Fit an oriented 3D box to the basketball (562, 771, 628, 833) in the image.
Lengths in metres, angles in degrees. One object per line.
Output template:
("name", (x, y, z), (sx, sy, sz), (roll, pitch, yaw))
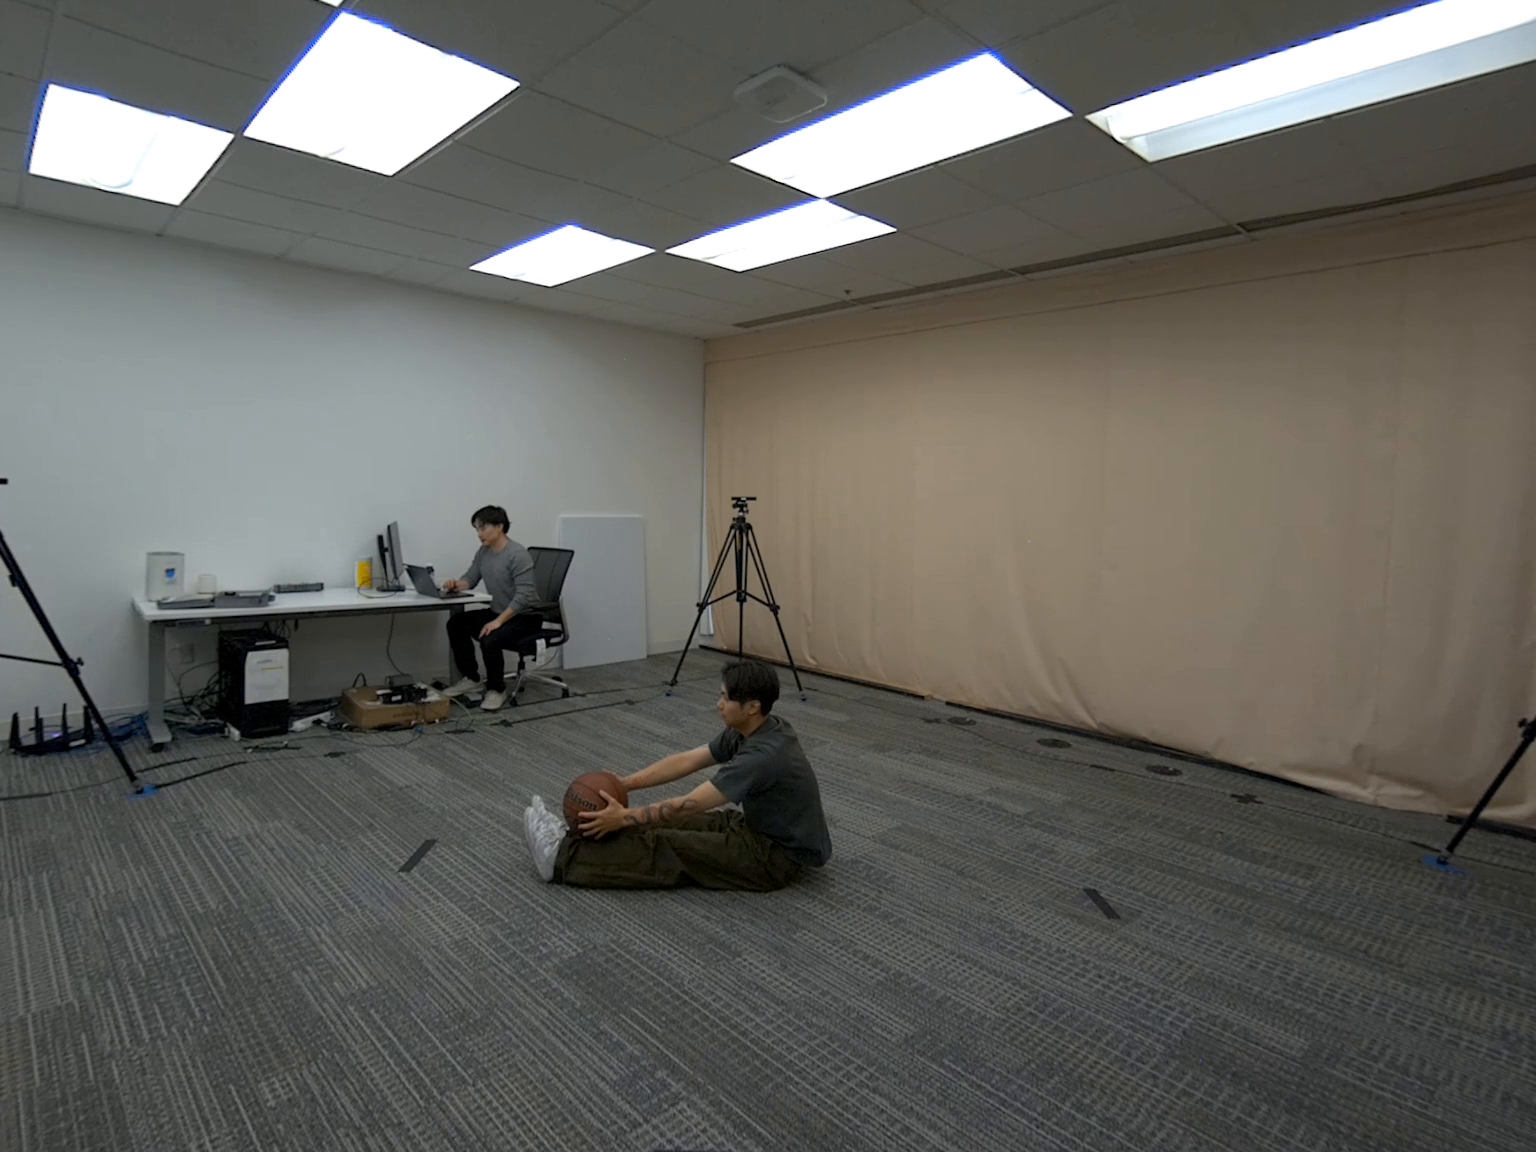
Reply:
("basketball", (-0.634, 0.836, 3.069), (0.236, 0.235, 0.237), (1, 4, -1))
